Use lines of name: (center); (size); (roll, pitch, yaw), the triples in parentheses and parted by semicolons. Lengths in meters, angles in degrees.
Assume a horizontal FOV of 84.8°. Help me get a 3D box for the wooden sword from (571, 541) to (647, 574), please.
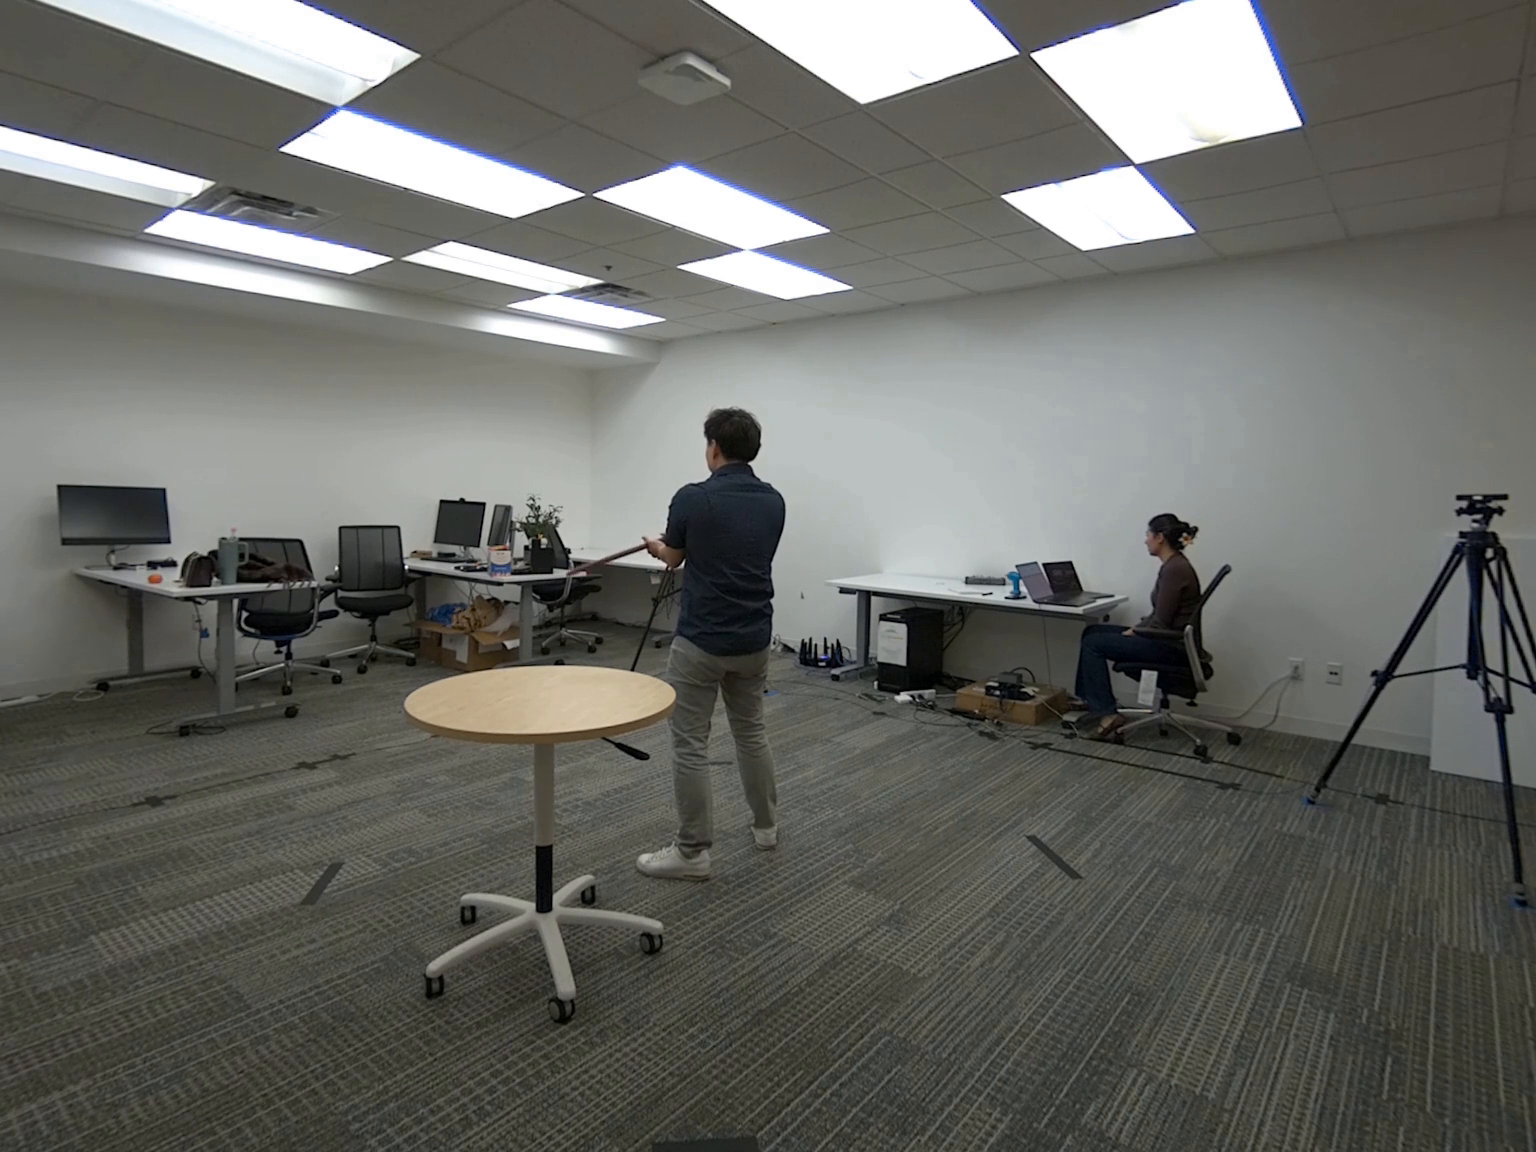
wooden sword: (-0.404, -0.168, 3.558); (1.004, 0.024, 0.051); (-22, -12, -40)
